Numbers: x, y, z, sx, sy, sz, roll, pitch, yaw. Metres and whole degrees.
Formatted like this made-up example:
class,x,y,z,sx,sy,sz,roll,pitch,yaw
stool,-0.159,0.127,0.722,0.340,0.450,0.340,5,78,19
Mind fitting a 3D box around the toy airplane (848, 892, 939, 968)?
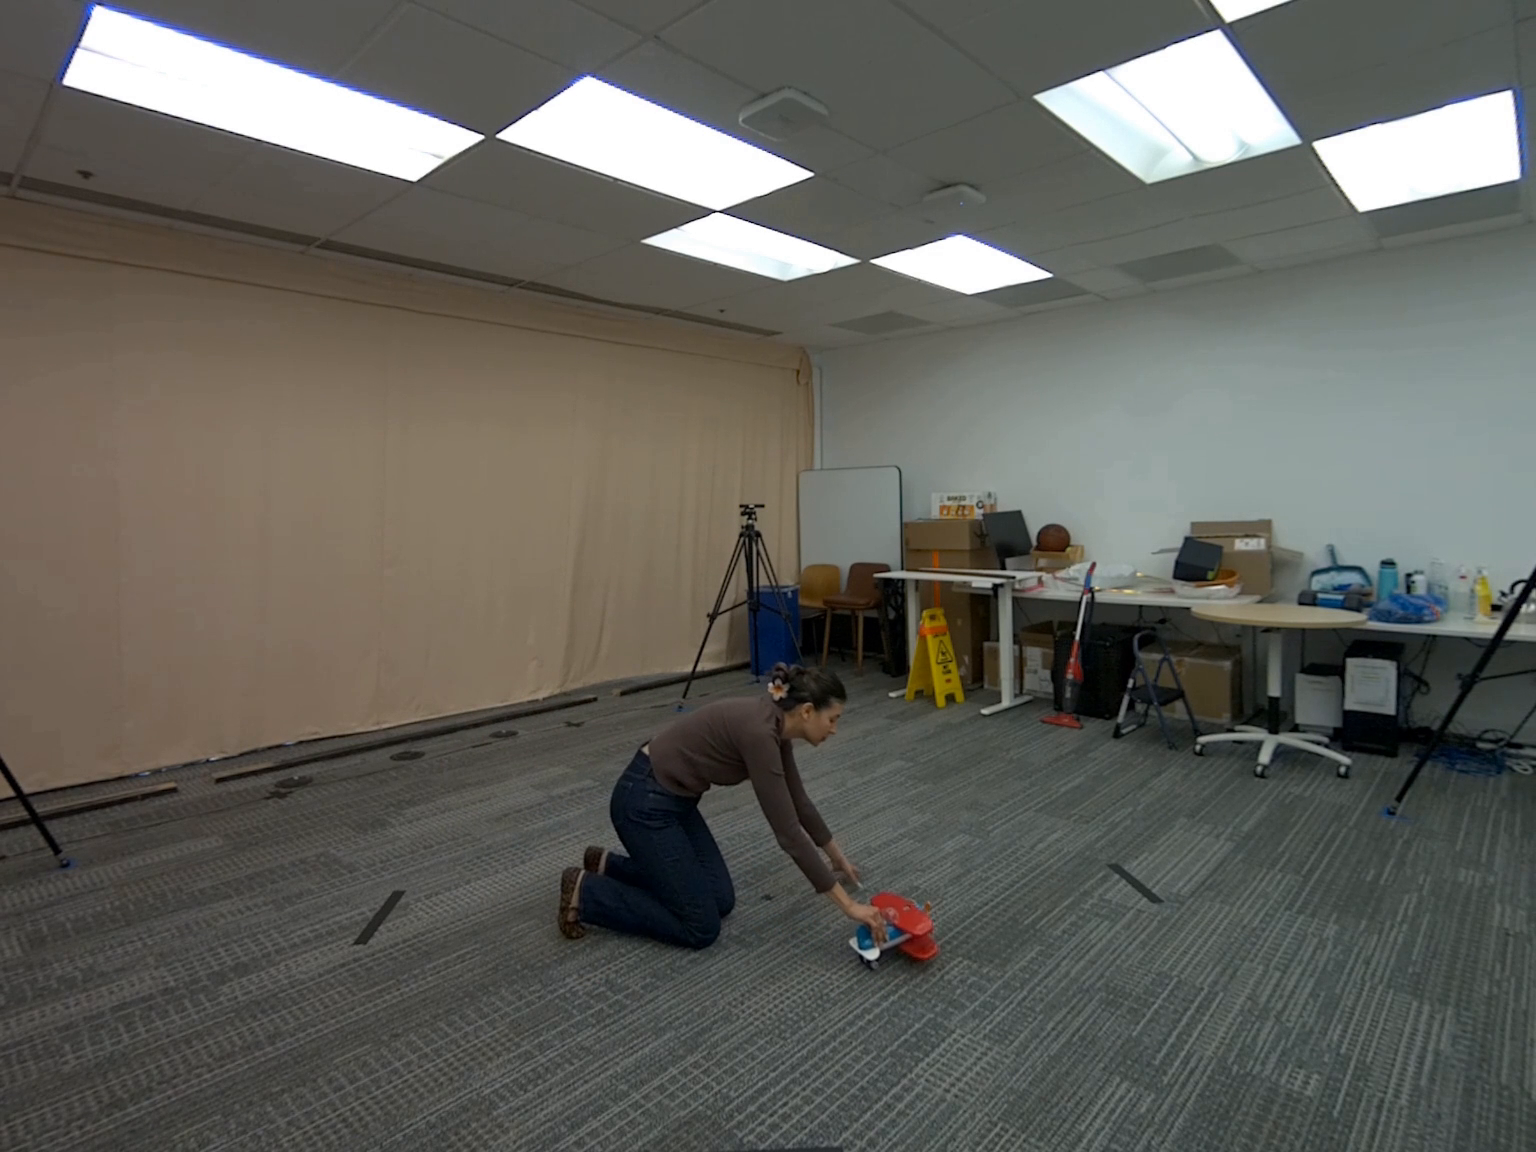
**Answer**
class,x,y,z,sx,sy,sz,roll,pitch,yaw
toy airplane,0.397,1.098,2.545,0.259,0.156,0.251,3,4,36
